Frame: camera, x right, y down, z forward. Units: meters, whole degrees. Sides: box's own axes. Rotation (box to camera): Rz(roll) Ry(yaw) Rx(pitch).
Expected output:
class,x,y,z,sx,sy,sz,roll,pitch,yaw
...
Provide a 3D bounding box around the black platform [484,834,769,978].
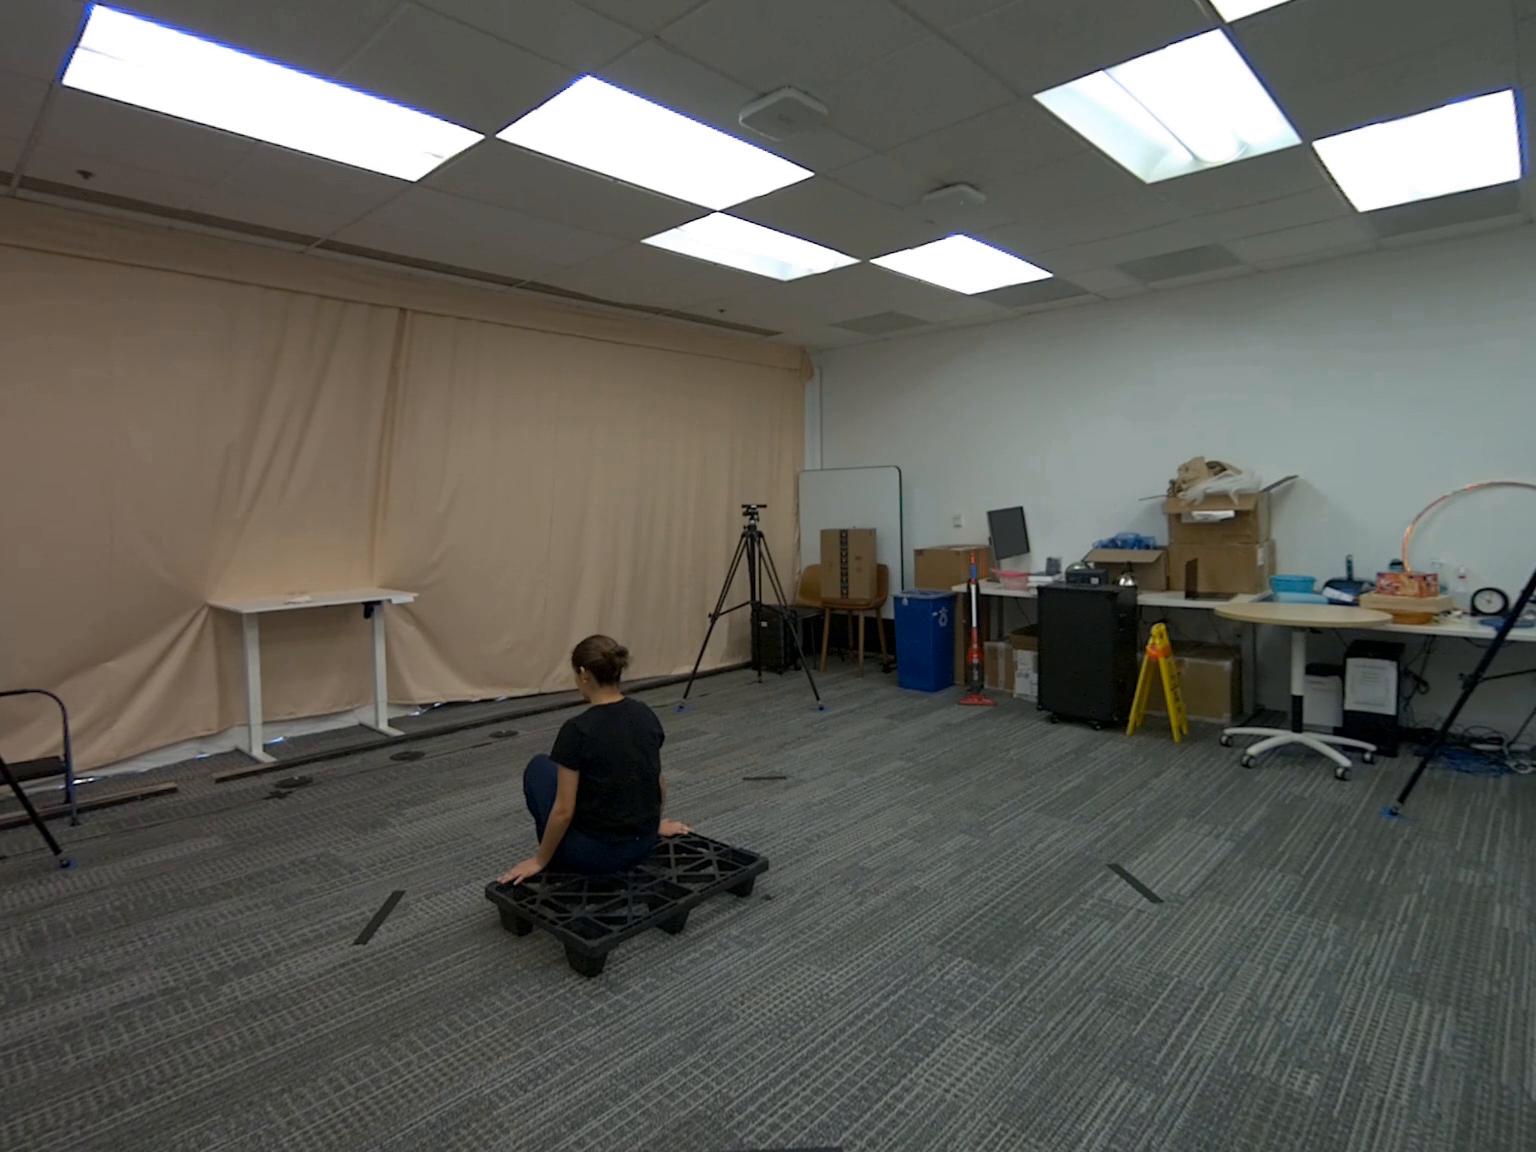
class,x,y,z,sx,sy,sz,roll,pitch,yaw
black platform,-0.447,1.088,2.907,0.625,0.143,0.781,4,7,41
